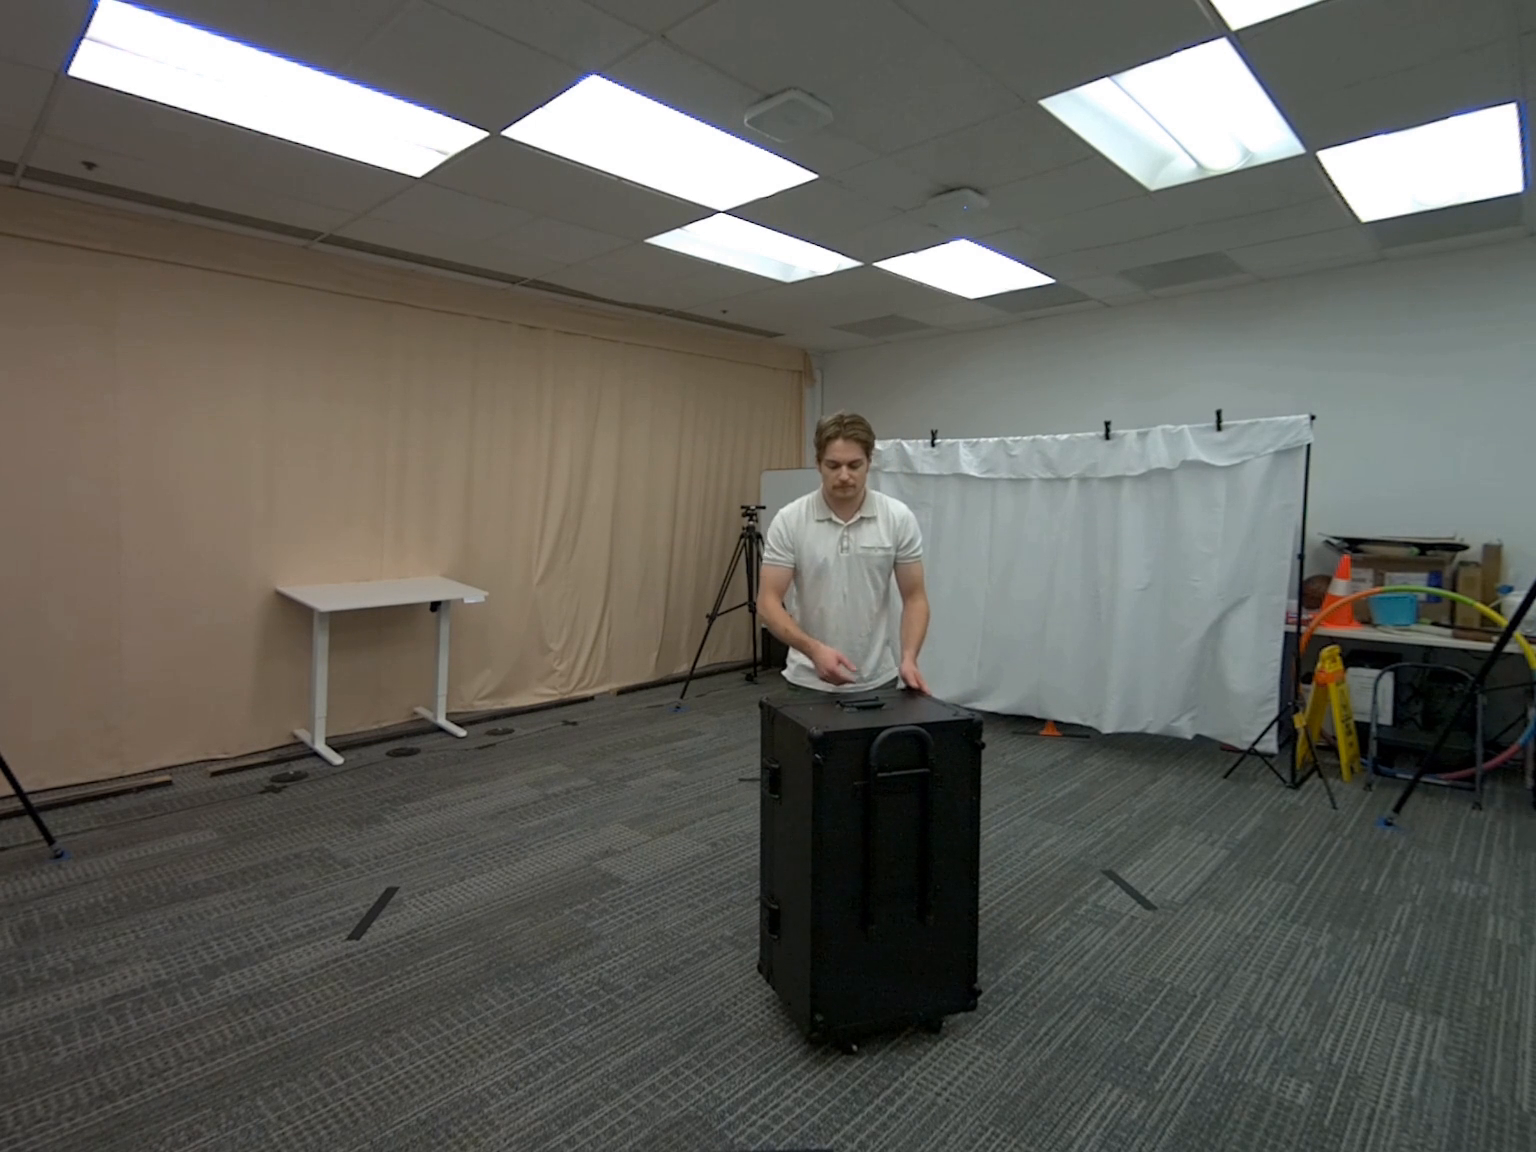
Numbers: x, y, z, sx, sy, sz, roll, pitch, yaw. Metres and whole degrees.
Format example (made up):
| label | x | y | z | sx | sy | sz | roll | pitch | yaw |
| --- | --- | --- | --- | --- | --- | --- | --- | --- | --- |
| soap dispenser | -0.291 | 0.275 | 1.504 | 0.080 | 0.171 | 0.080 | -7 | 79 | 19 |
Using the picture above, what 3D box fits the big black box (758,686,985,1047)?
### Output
| label | x | y | z | sx | sy | sz | roll | pitch | yaw |
| --- | --- | --- | --- | --- | --- | --- | --- | --- | --- |
| big black box | 0.276 | 0.776 | 2.282 | 0.513 | 0.866 | 0.394 | -1 | 4 | -20 |
